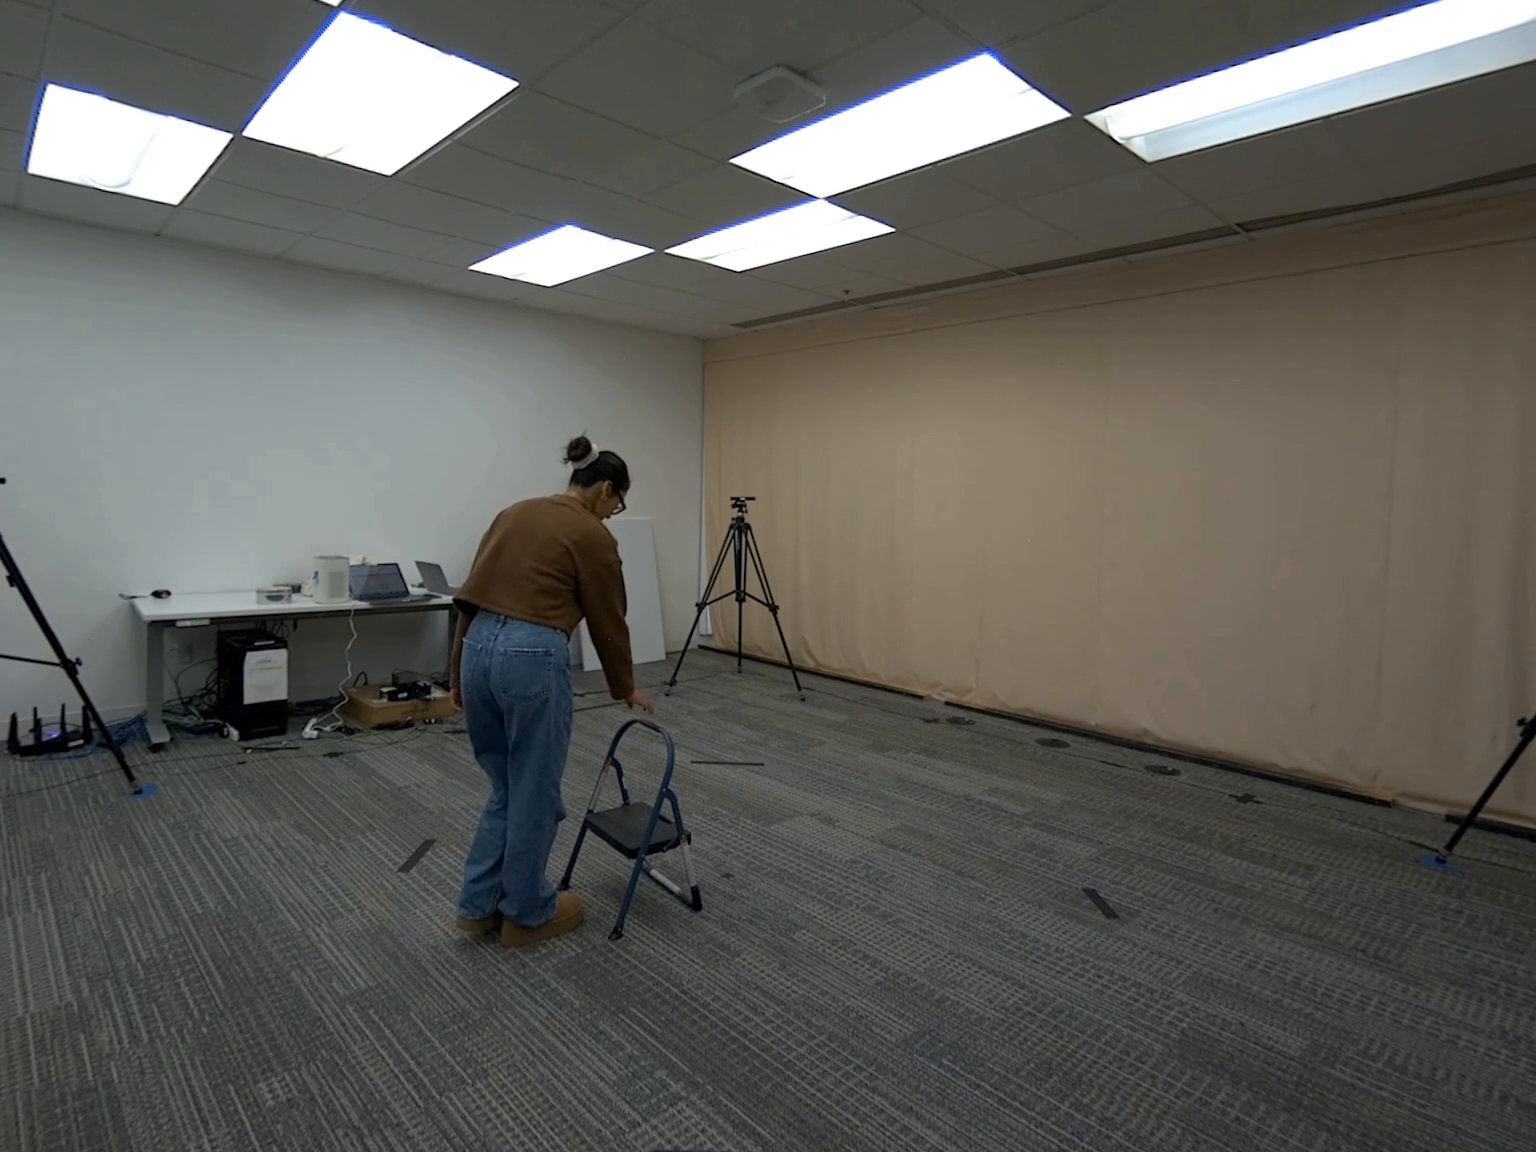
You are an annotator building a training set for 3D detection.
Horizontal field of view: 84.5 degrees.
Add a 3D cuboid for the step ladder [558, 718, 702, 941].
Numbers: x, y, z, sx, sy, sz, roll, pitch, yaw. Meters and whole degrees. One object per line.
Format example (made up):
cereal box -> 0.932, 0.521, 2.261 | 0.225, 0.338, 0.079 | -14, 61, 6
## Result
step ladder -> -0.478, 0.817, 2.886 | 0.341, 0.604, 0.441 | -1, 4, -37
